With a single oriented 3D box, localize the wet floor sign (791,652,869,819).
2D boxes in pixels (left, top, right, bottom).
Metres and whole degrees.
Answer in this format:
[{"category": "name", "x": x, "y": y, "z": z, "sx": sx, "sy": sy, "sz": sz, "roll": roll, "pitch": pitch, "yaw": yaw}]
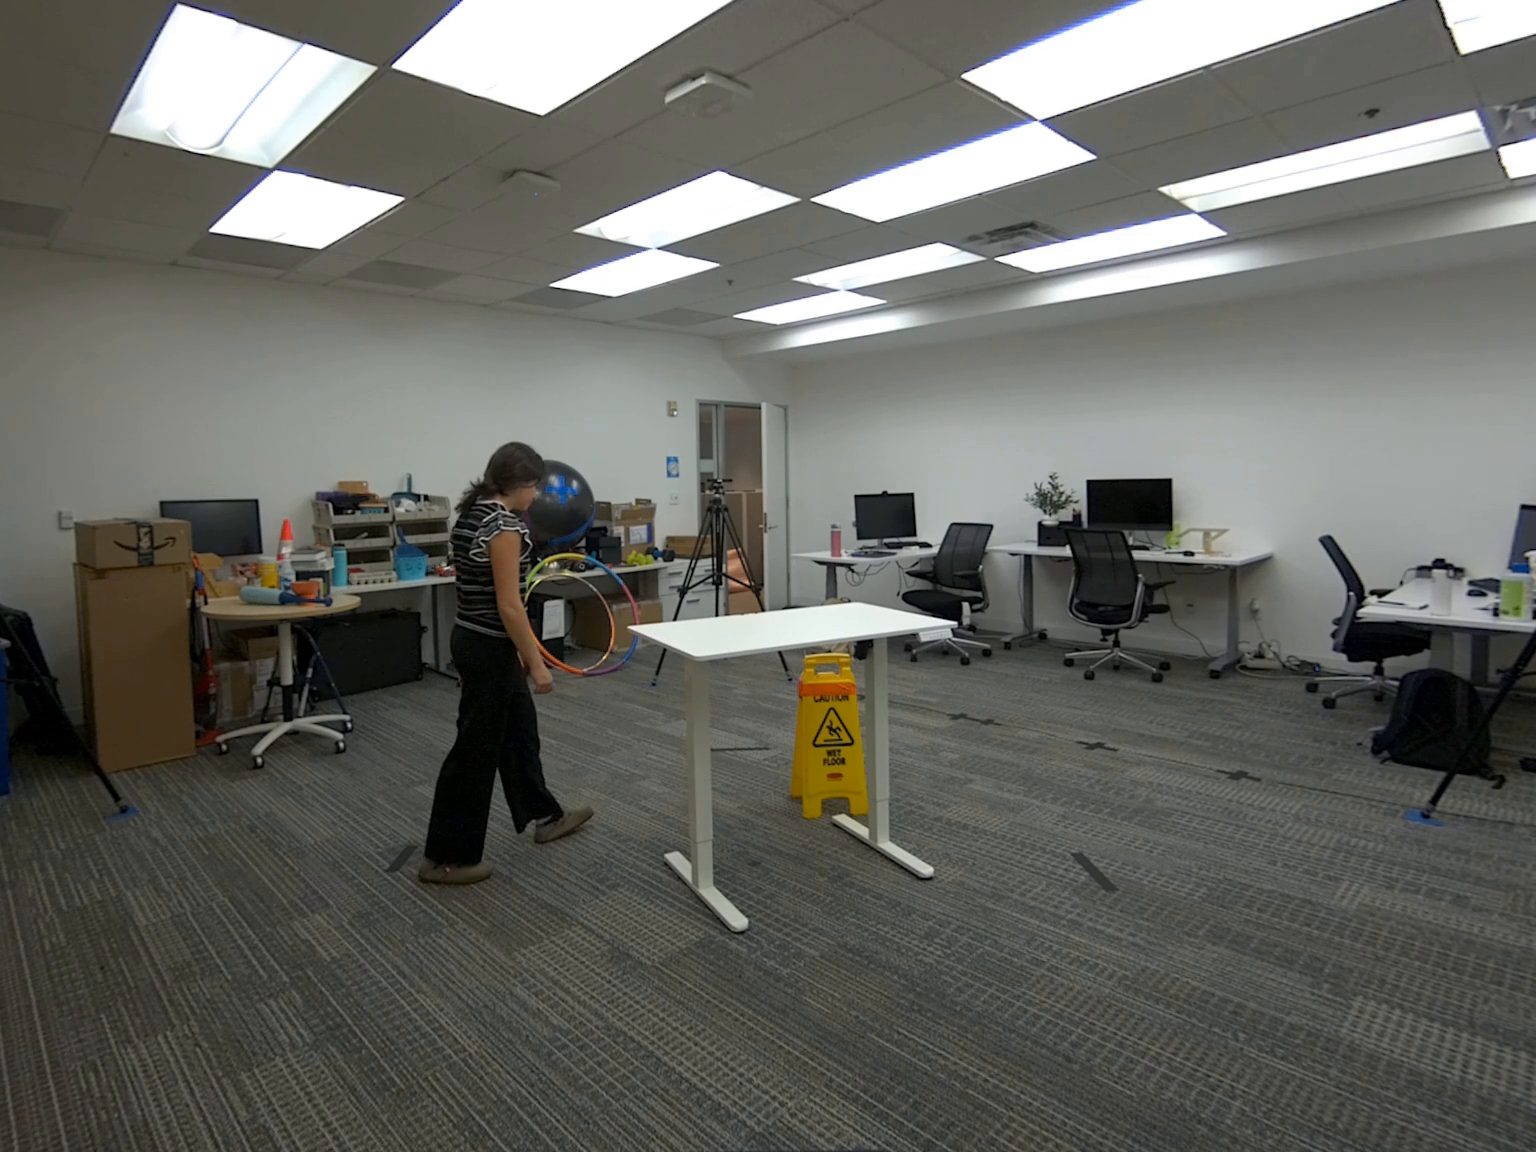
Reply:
[{"category": "wet floor sign", "x": 0.265, "y": 0.657, "z": 3.638, "sx": 0.280, "sy": 0.645, "sz": 0.293, "roll": -1, "pitch": 3, "yaw": -9}]
